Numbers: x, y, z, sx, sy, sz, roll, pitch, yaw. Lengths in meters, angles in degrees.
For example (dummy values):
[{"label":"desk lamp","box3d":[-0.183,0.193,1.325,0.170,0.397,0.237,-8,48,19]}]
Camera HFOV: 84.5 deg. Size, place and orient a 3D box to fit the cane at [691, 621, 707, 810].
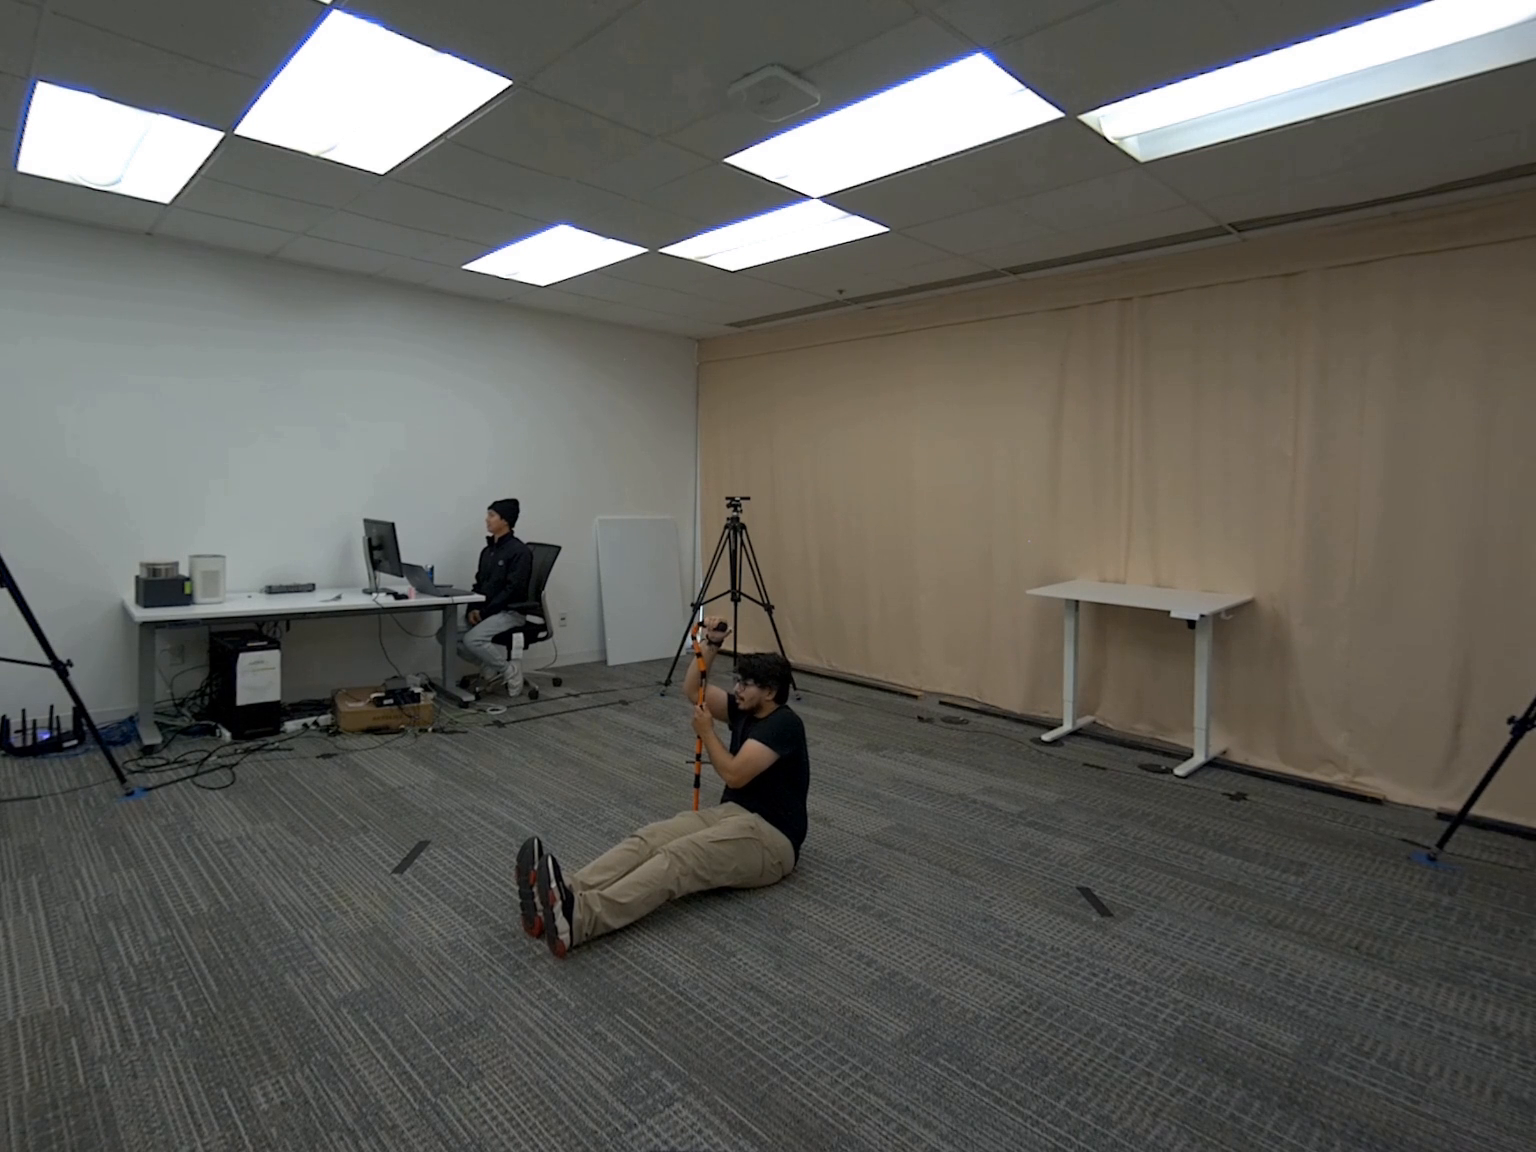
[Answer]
[{"label":"cane","box3d":[-0.266,0.629,3.355,0.211,0.905,0.148,7,6,34]}]
